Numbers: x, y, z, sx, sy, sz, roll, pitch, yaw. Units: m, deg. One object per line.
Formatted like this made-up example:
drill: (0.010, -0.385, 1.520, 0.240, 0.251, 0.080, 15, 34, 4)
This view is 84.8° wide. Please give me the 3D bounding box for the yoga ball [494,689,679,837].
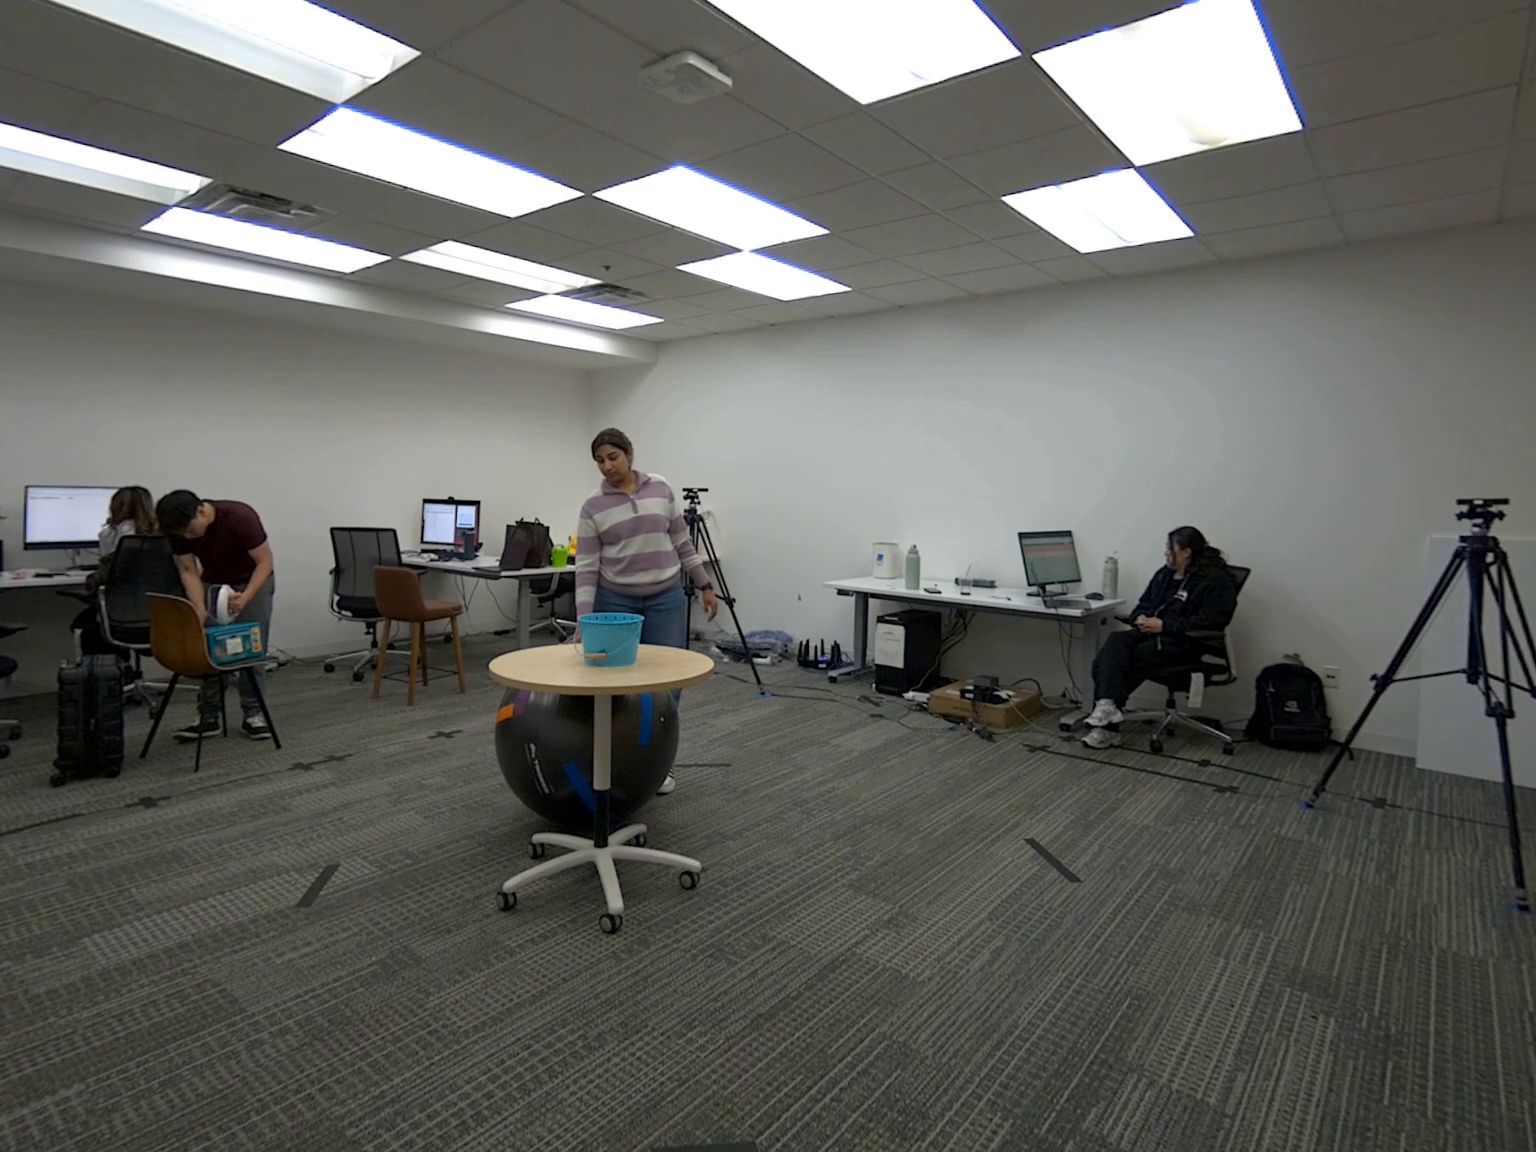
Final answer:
yoga ball: (-0.762, 0.648, 3.545, 0.757, 0.755, 0.762, 1, 4, -2)
